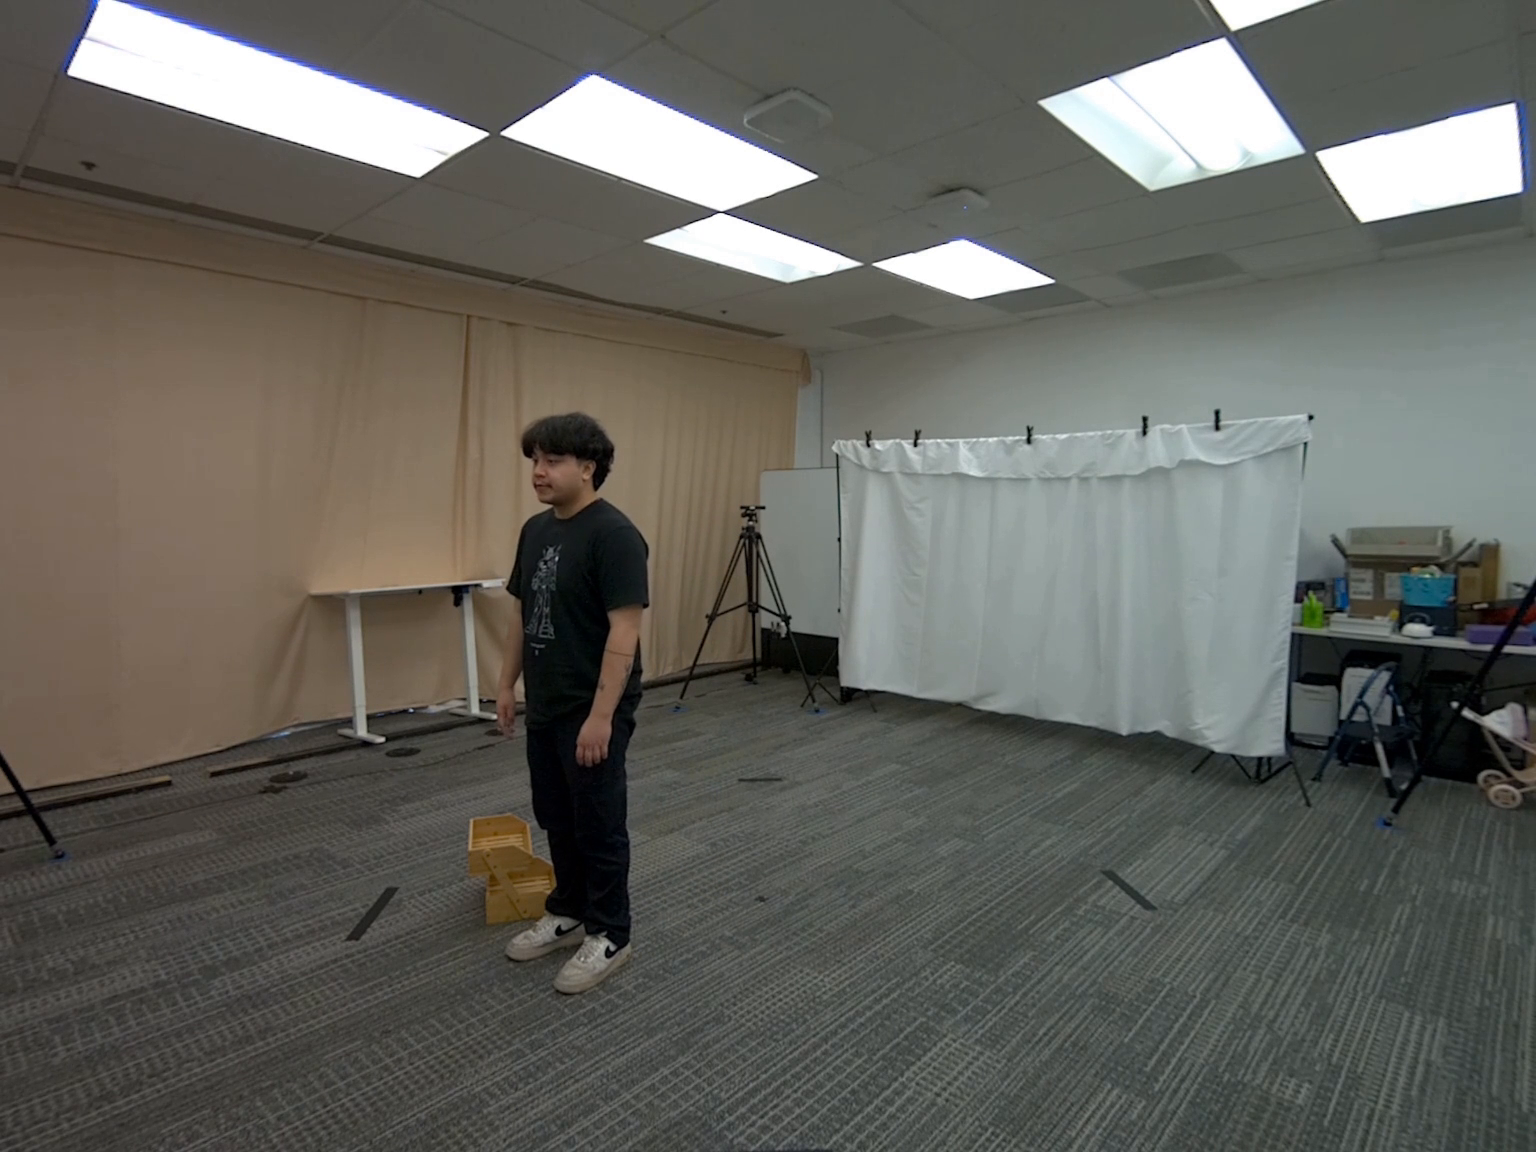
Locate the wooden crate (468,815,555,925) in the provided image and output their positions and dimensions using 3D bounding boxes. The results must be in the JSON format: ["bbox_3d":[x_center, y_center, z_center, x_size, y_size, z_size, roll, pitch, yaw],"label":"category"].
[{"bbox_3d":[-0.898,1.017,2.976,0.297,0.273,0.331,-2,4,-17],"label":"wooden crate"}]
